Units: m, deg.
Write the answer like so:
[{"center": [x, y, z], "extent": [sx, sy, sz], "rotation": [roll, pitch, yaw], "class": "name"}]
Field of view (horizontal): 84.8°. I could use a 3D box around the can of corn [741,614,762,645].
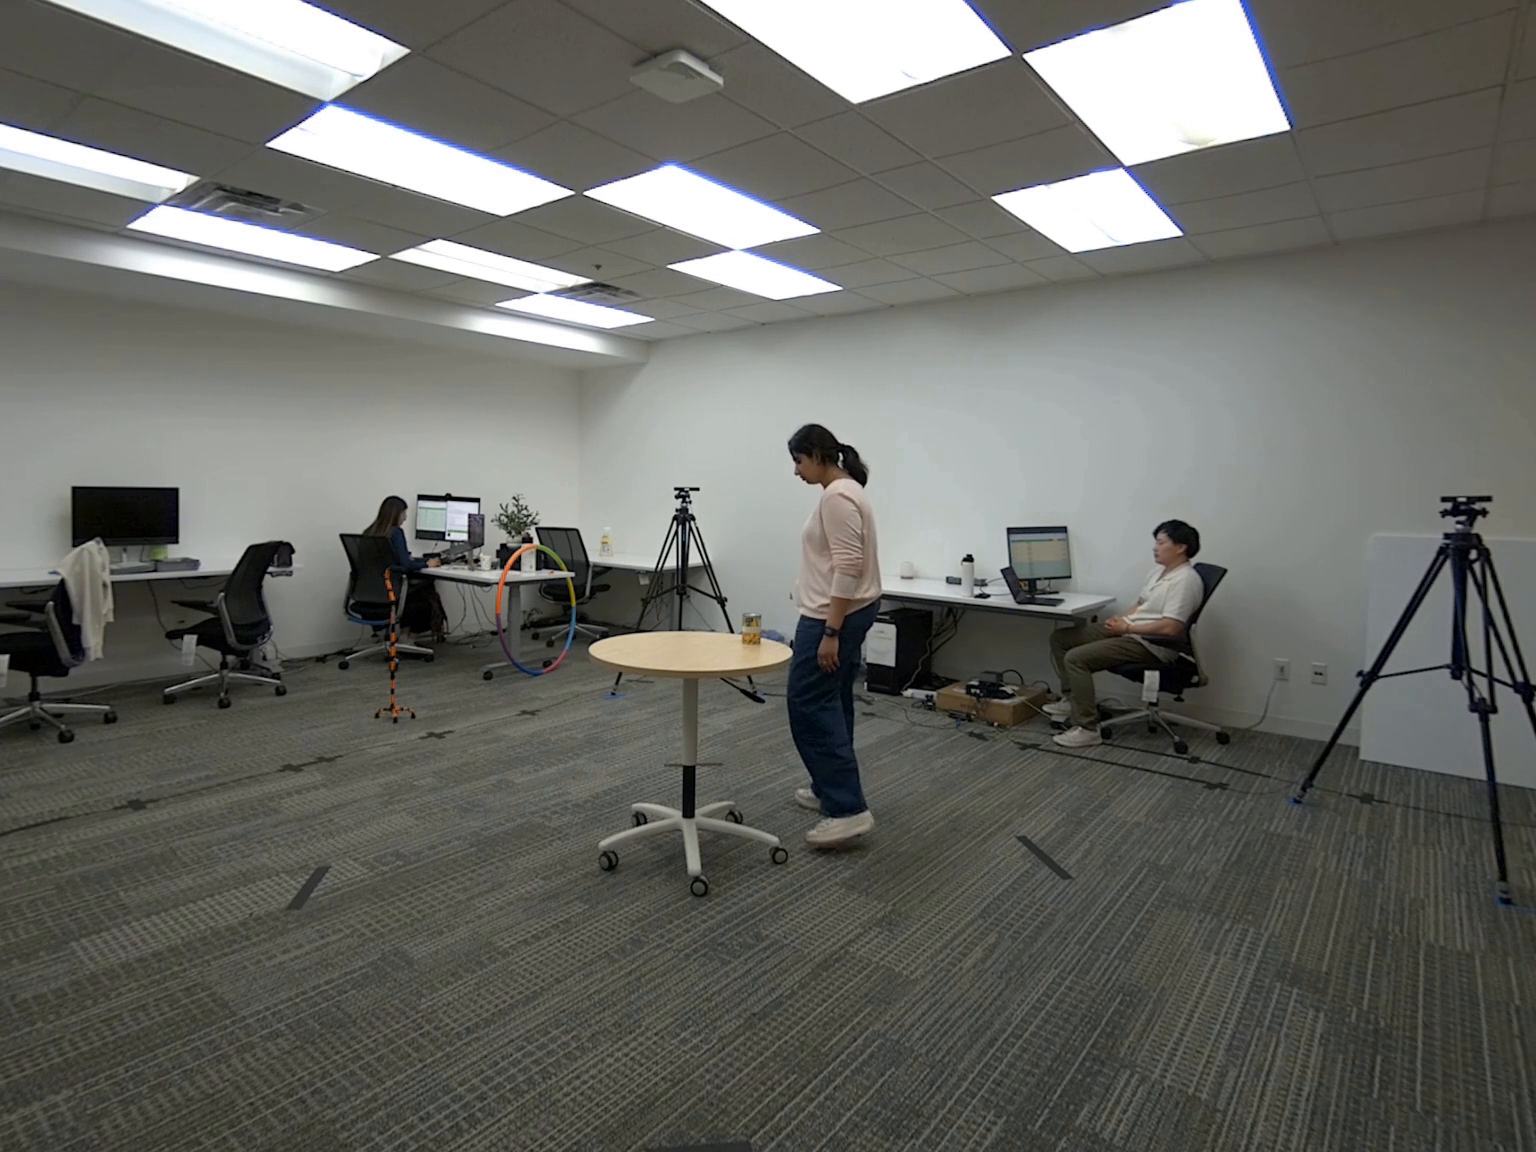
[{"center": [-0.080, 0.205, 3.360], "extent": [0.074, 0.111, 0.074], "rotation": [4, 0, -2], "class": "can of corn"}]
